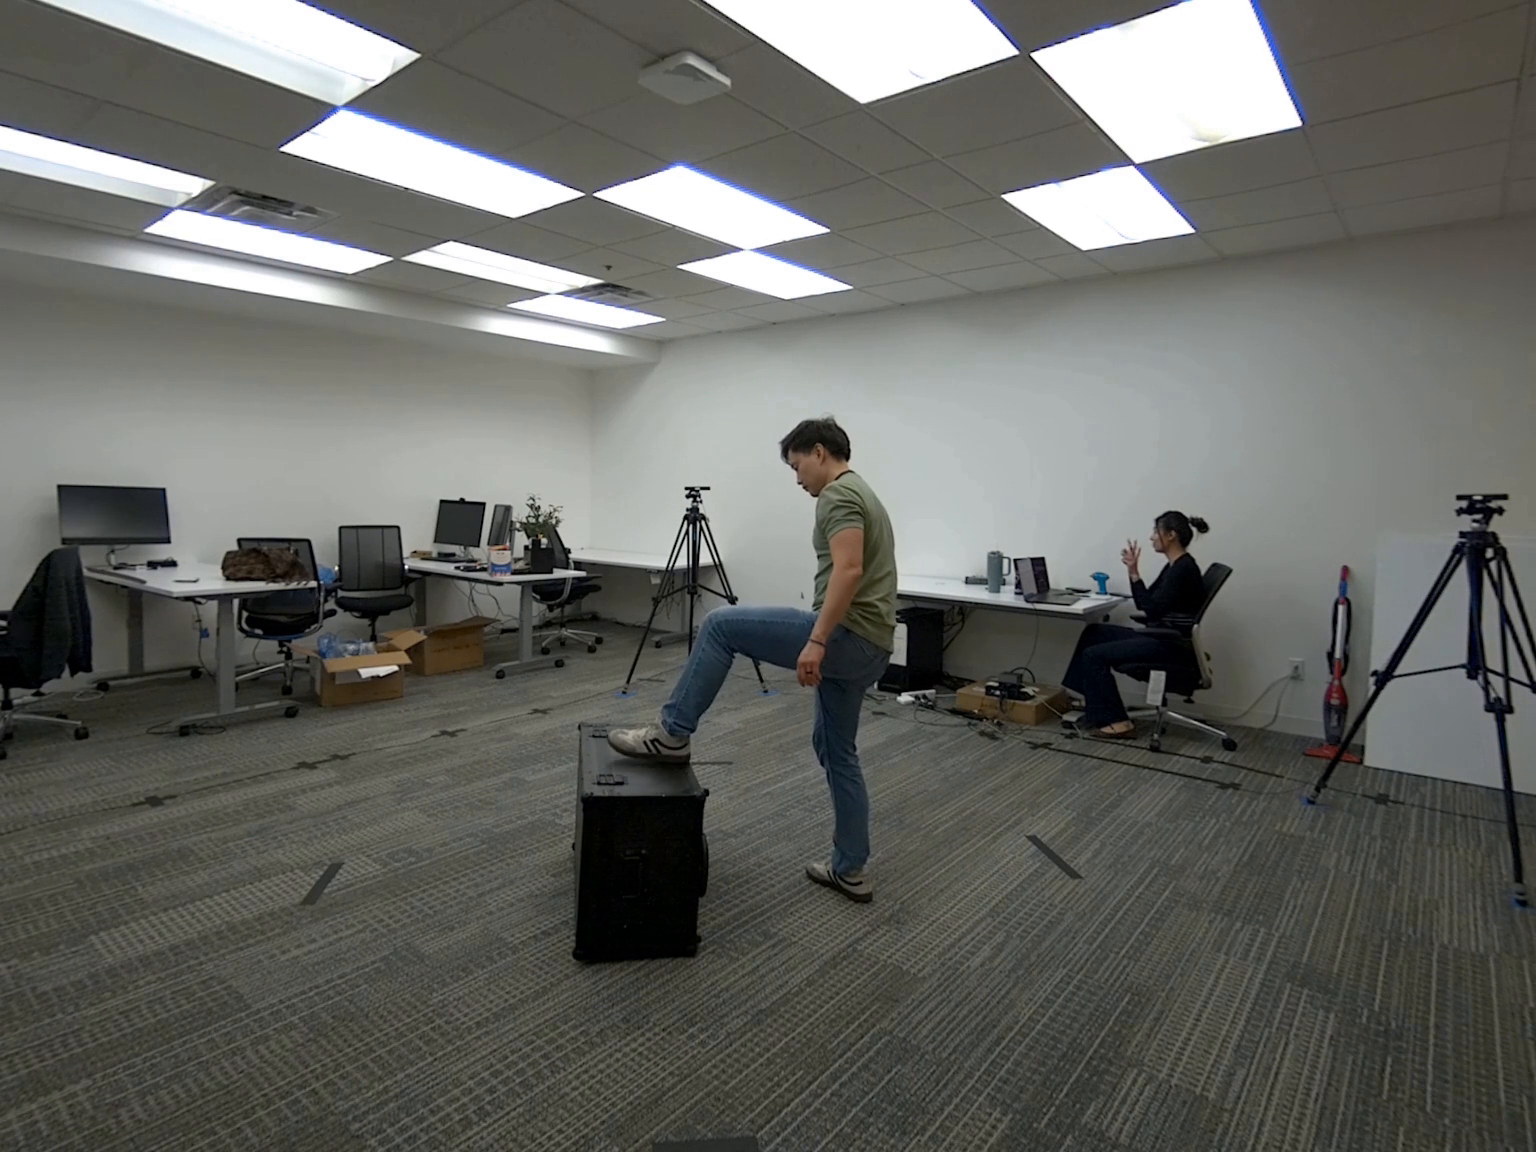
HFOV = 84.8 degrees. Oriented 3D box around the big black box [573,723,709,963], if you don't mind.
[{"bbox_3d":[-0.462,0.829,2.885,0.391,0.520,0.876,2,4,-14],"label":"big black box"}]
